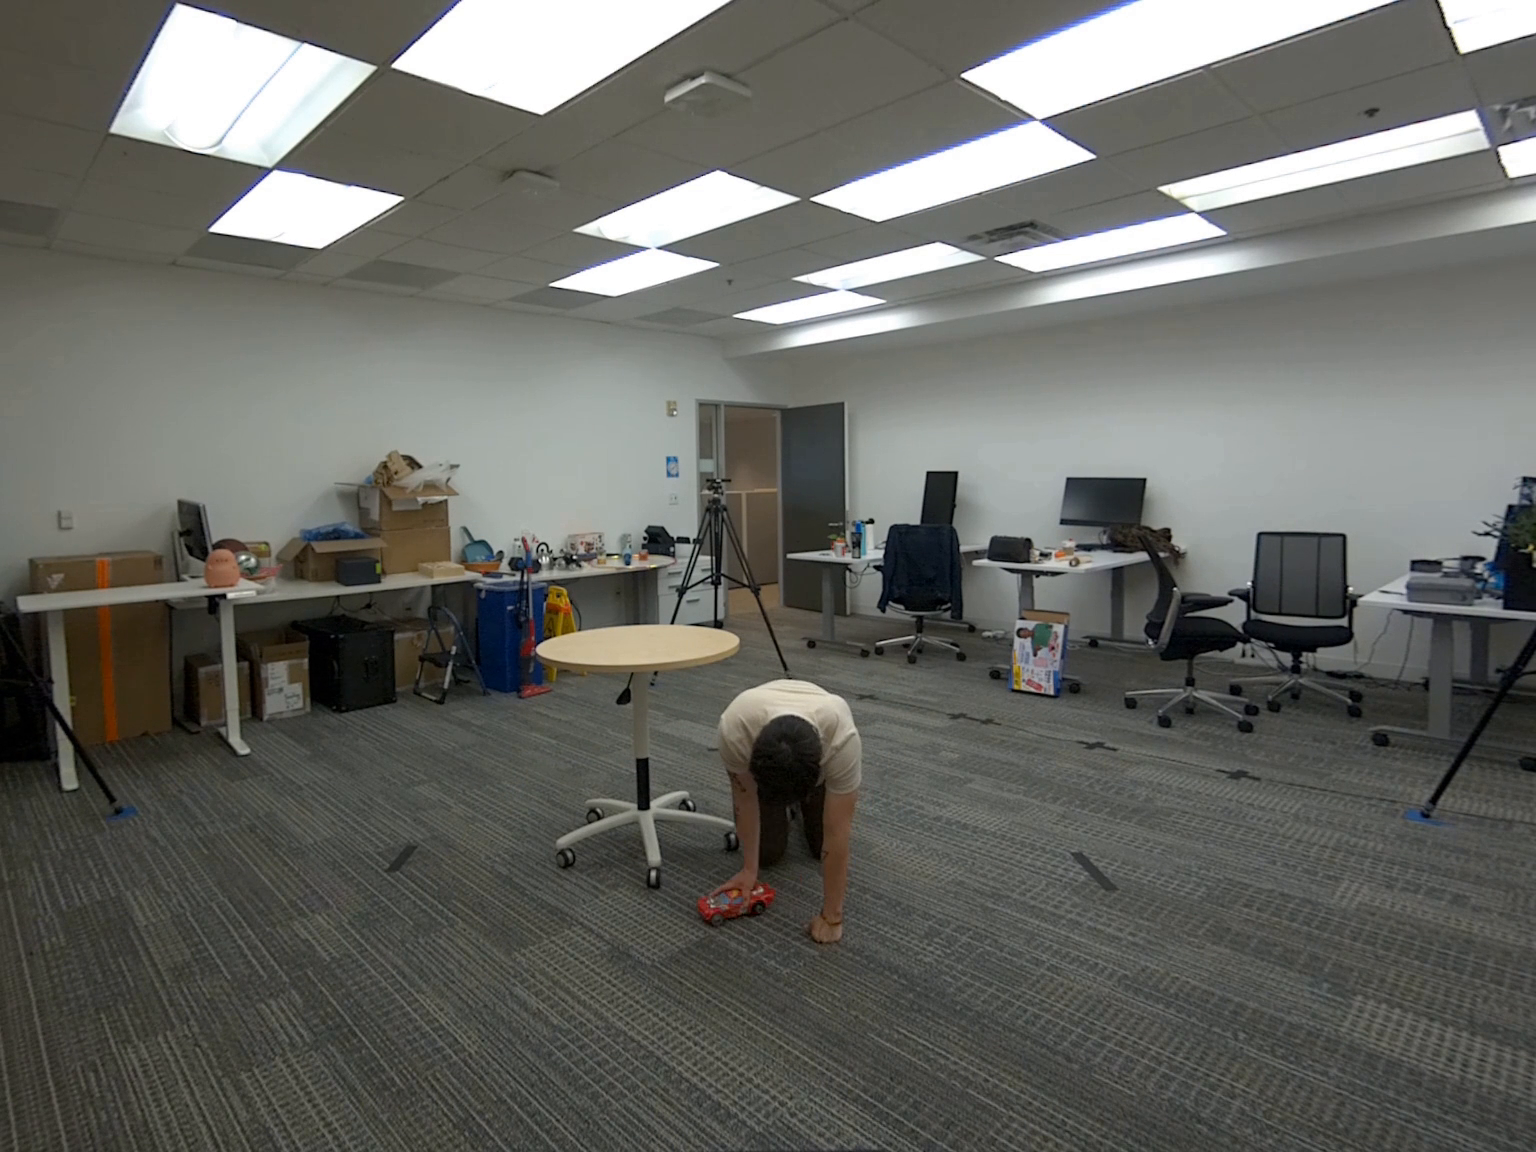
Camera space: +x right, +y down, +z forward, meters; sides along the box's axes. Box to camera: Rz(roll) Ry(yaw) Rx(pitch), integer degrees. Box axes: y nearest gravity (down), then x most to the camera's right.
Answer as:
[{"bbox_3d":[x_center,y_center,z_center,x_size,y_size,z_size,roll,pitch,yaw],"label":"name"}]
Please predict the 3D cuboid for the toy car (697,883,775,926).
[{"bbox_3d":[-0.098,1.056,2.760,0.251,0.082,0.133,-14,10,-21],"label":"toy car"}]
